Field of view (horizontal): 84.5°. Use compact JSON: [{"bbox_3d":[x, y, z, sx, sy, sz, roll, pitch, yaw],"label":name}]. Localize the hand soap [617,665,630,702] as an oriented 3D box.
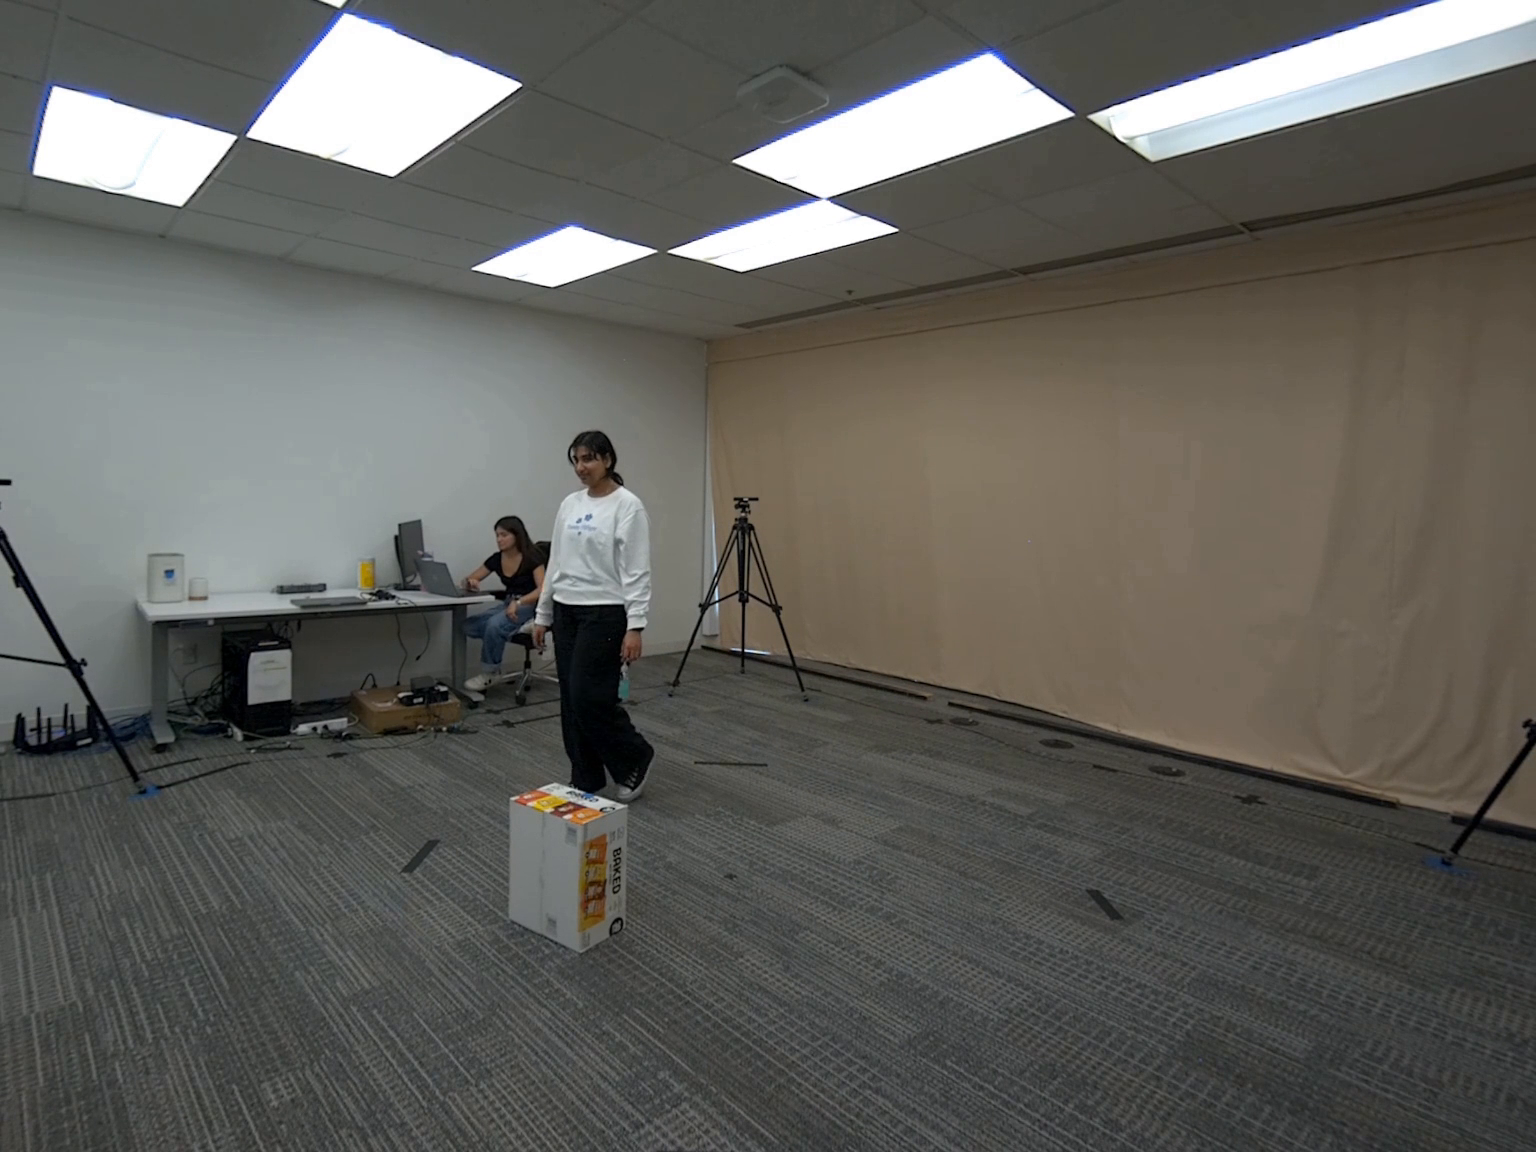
[{"bbox_3d":[-0.609,0.431,3.588,0.043,0.168,0.086,4,1,-22],"label":"hand soap"}]
